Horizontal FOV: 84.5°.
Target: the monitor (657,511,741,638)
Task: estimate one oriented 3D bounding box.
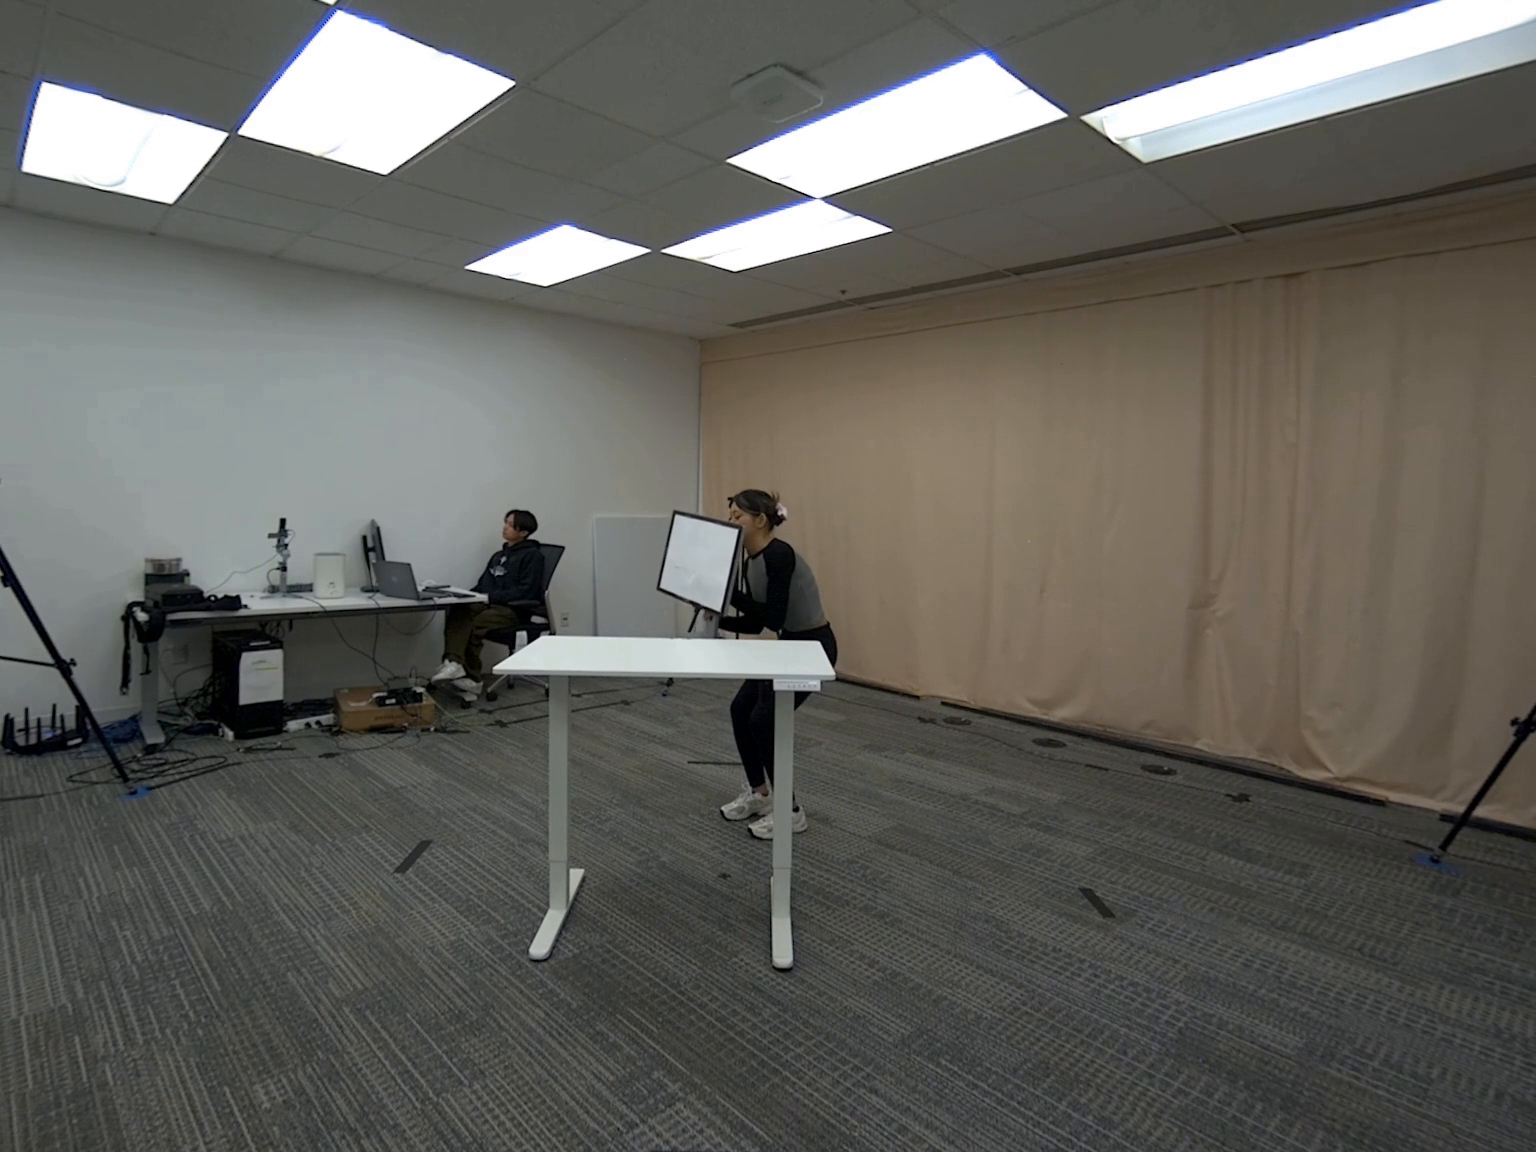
[{"bbox_3d":[-0.276,0.014,3.502,0.183,0.520,0.554,-2,10,-35],"label":"monitor"}]
